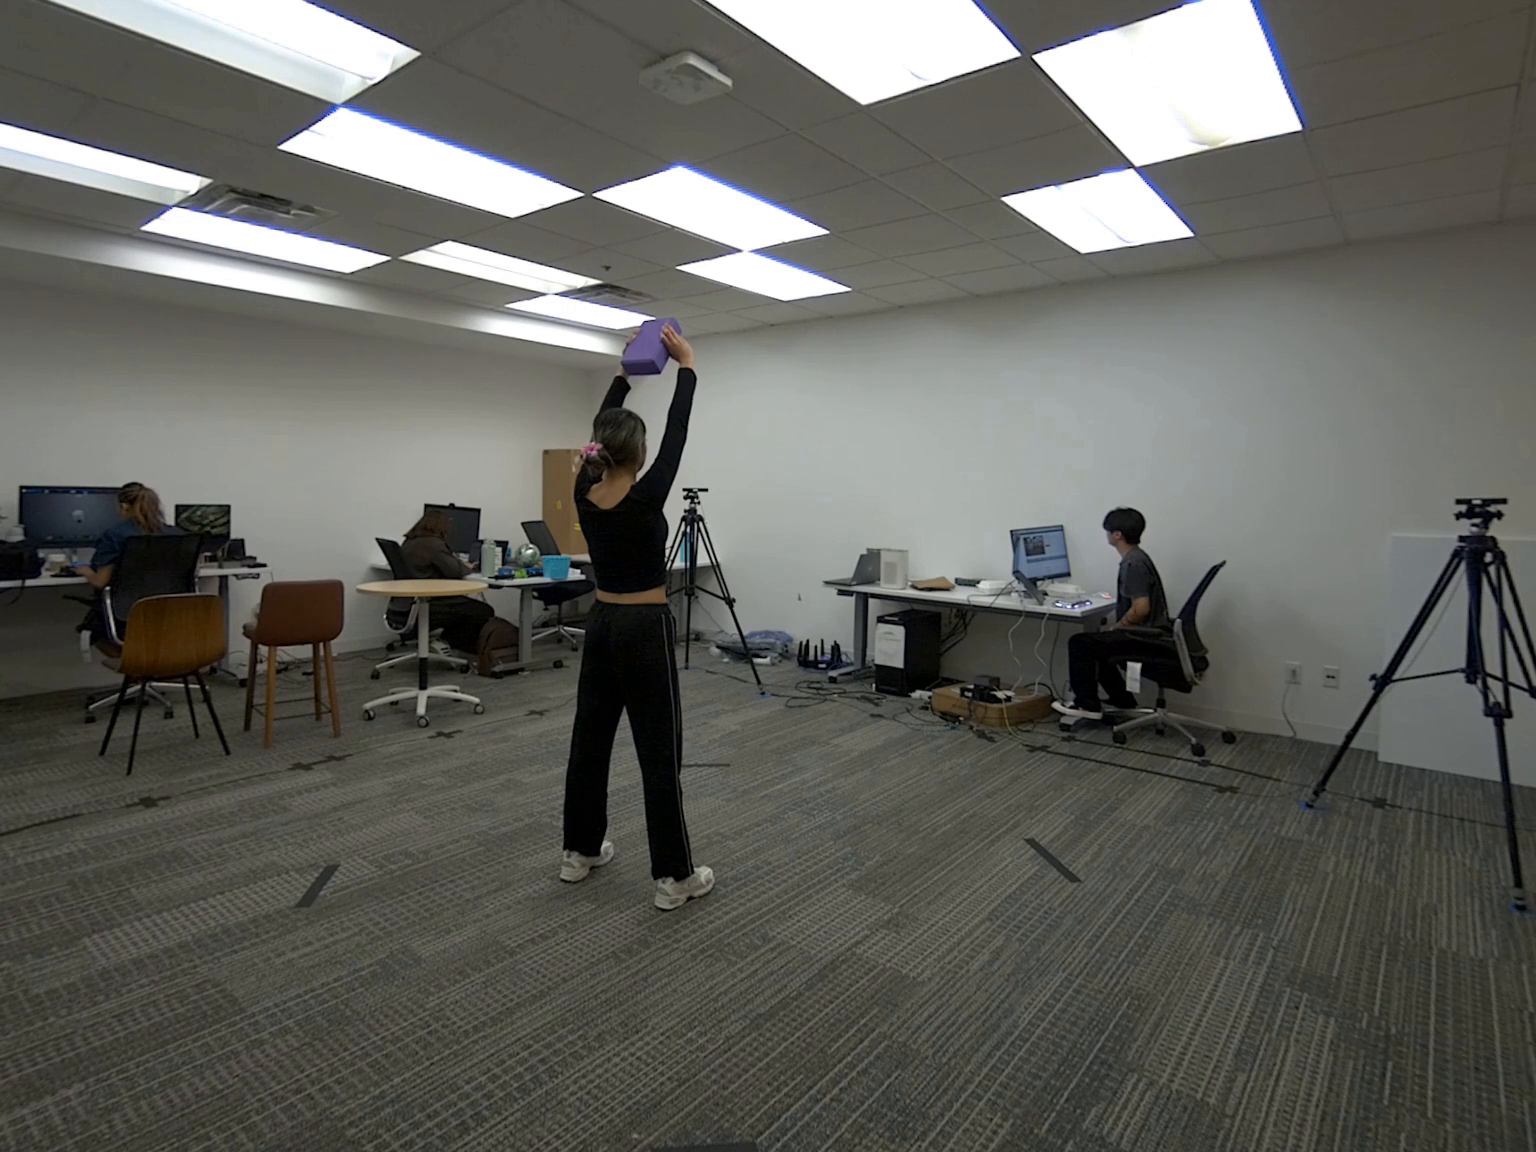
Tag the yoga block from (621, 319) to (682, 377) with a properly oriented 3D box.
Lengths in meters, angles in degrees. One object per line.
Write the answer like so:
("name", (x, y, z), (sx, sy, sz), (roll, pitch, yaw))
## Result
("yoga block", (-0.432, -0.832, 3.080), (0.153, 0.232, 0.073), (4, -34, 27))
